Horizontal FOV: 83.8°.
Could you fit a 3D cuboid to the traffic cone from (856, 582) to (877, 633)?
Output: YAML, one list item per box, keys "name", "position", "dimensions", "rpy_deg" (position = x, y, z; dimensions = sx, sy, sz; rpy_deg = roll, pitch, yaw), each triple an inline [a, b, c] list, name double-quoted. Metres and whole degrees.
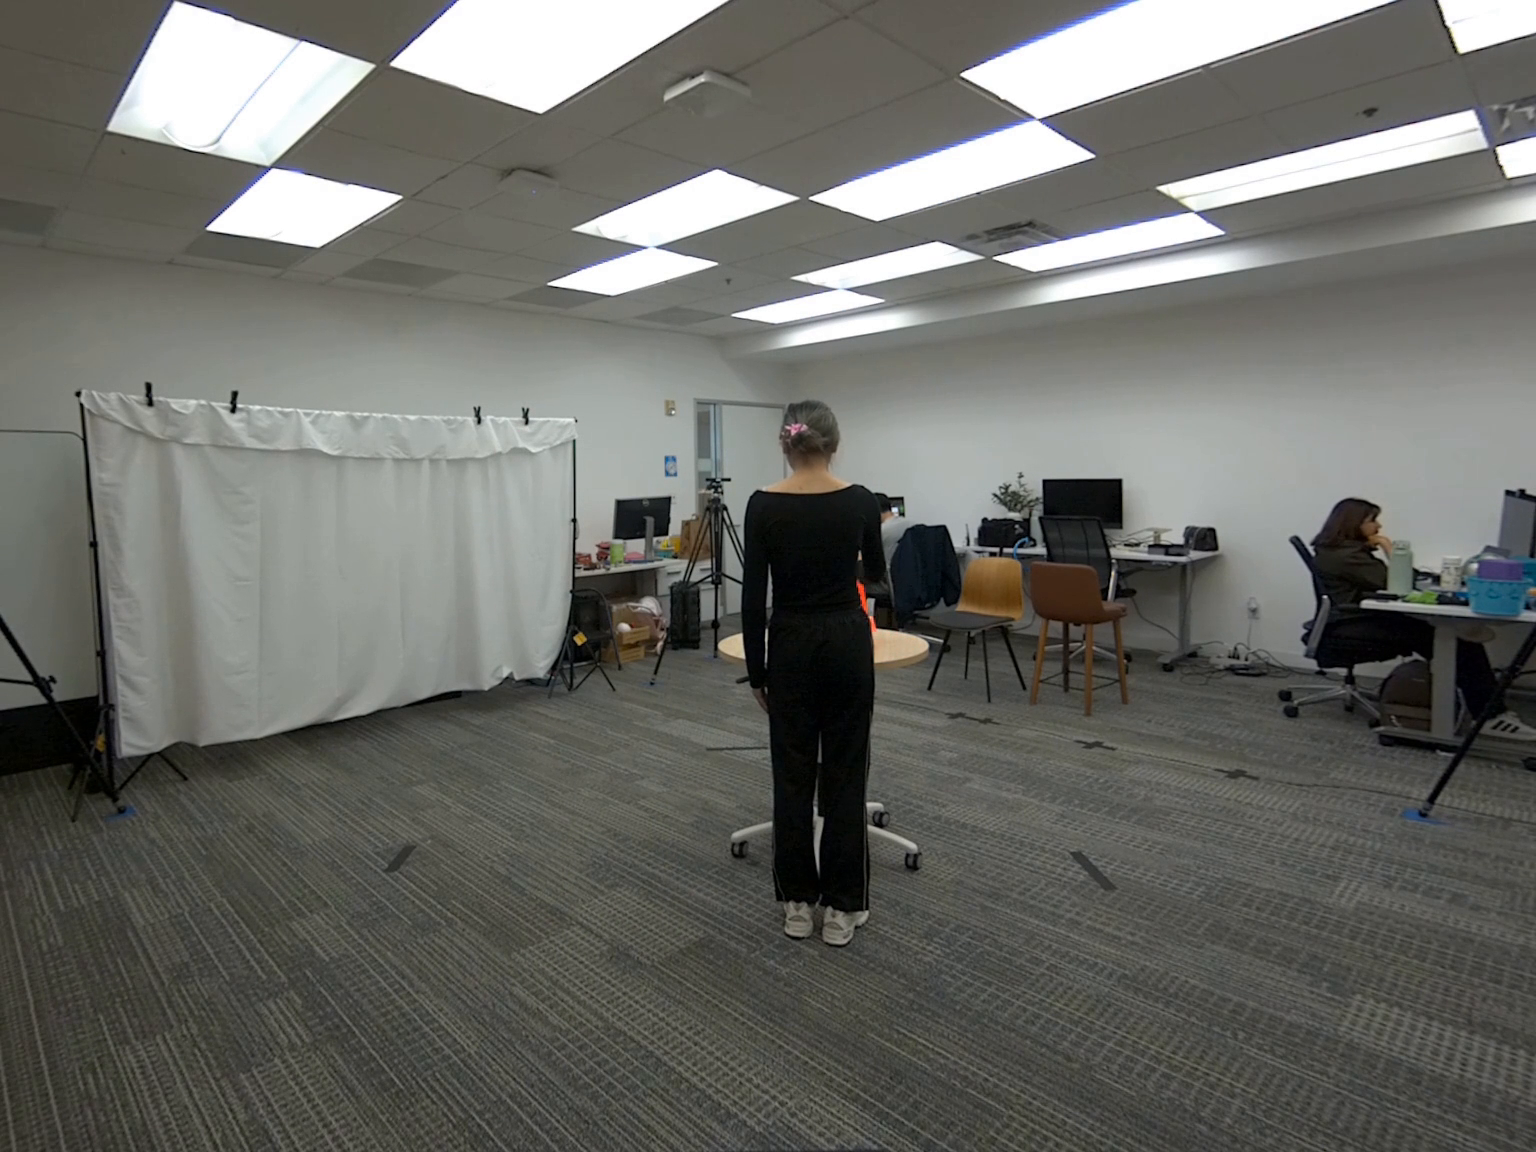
- name: "traffic cone"
  position: [0.302, -0.007, 3.112]
  dimensions: [0.207, 0.381, 0.202]
  rpy_deg: [2, 7, 9]
